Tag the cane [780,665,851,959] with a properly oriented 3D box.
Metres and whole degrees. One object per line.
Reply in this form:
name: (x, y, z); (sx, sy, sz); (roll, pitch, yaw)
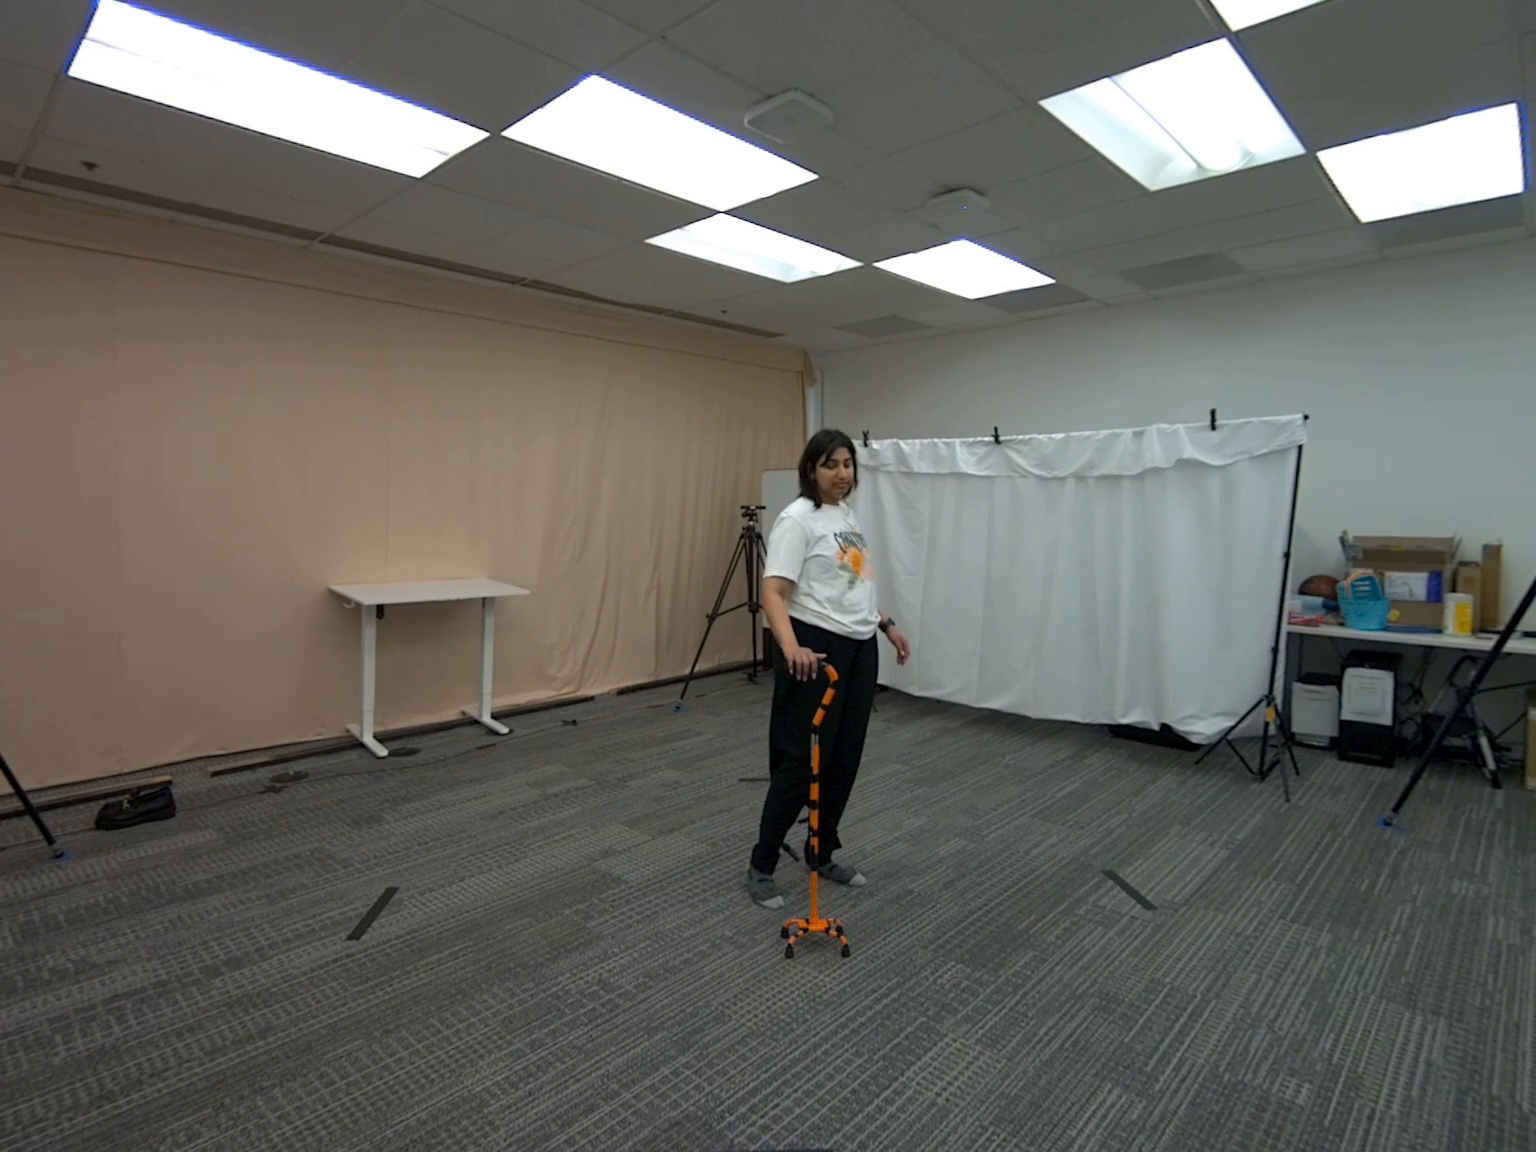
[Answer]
cane: (0.148, 0.714, 2.638); (0.206, 0.905, 0.152); (-1, 4, -1)
